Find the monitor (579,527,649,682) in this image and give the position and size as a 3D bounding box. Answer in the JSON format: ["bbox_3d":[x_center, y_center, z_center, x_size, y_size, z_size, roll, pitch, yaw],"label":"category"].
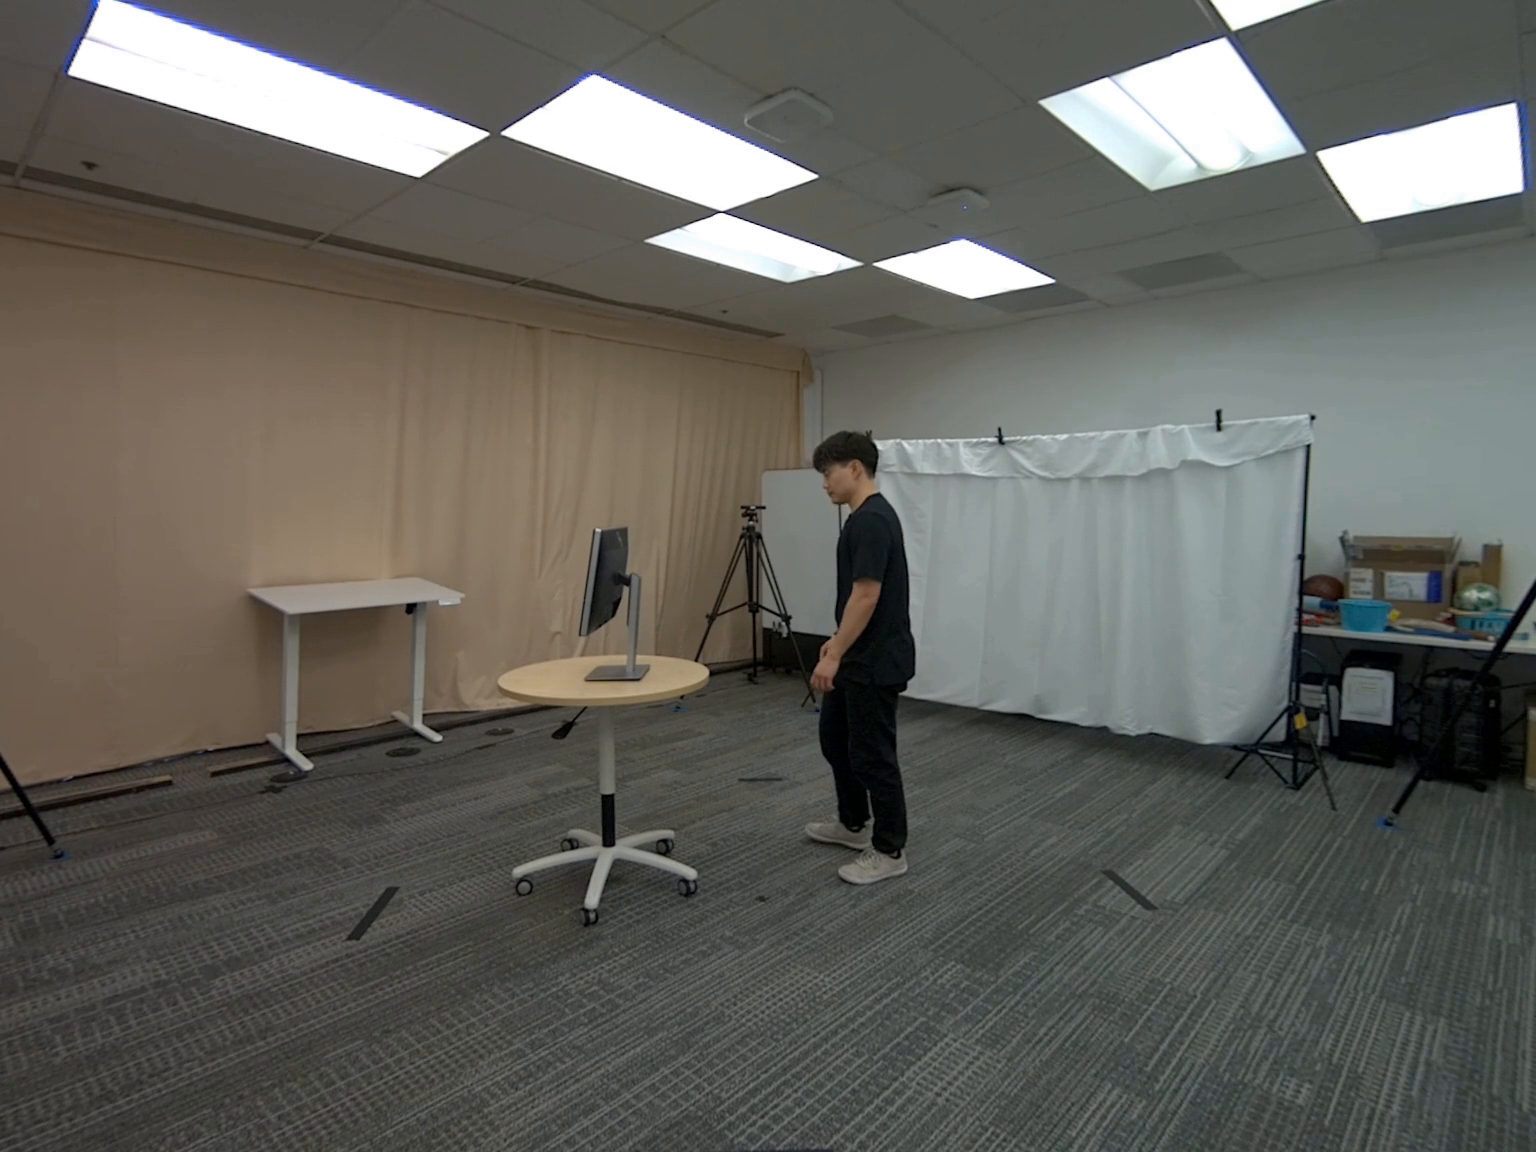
[{"bbox_3d":[-0.546,0.102,3.068,0.187,0.522,0.540,-2,3,-2],"label":"monitor"}]
